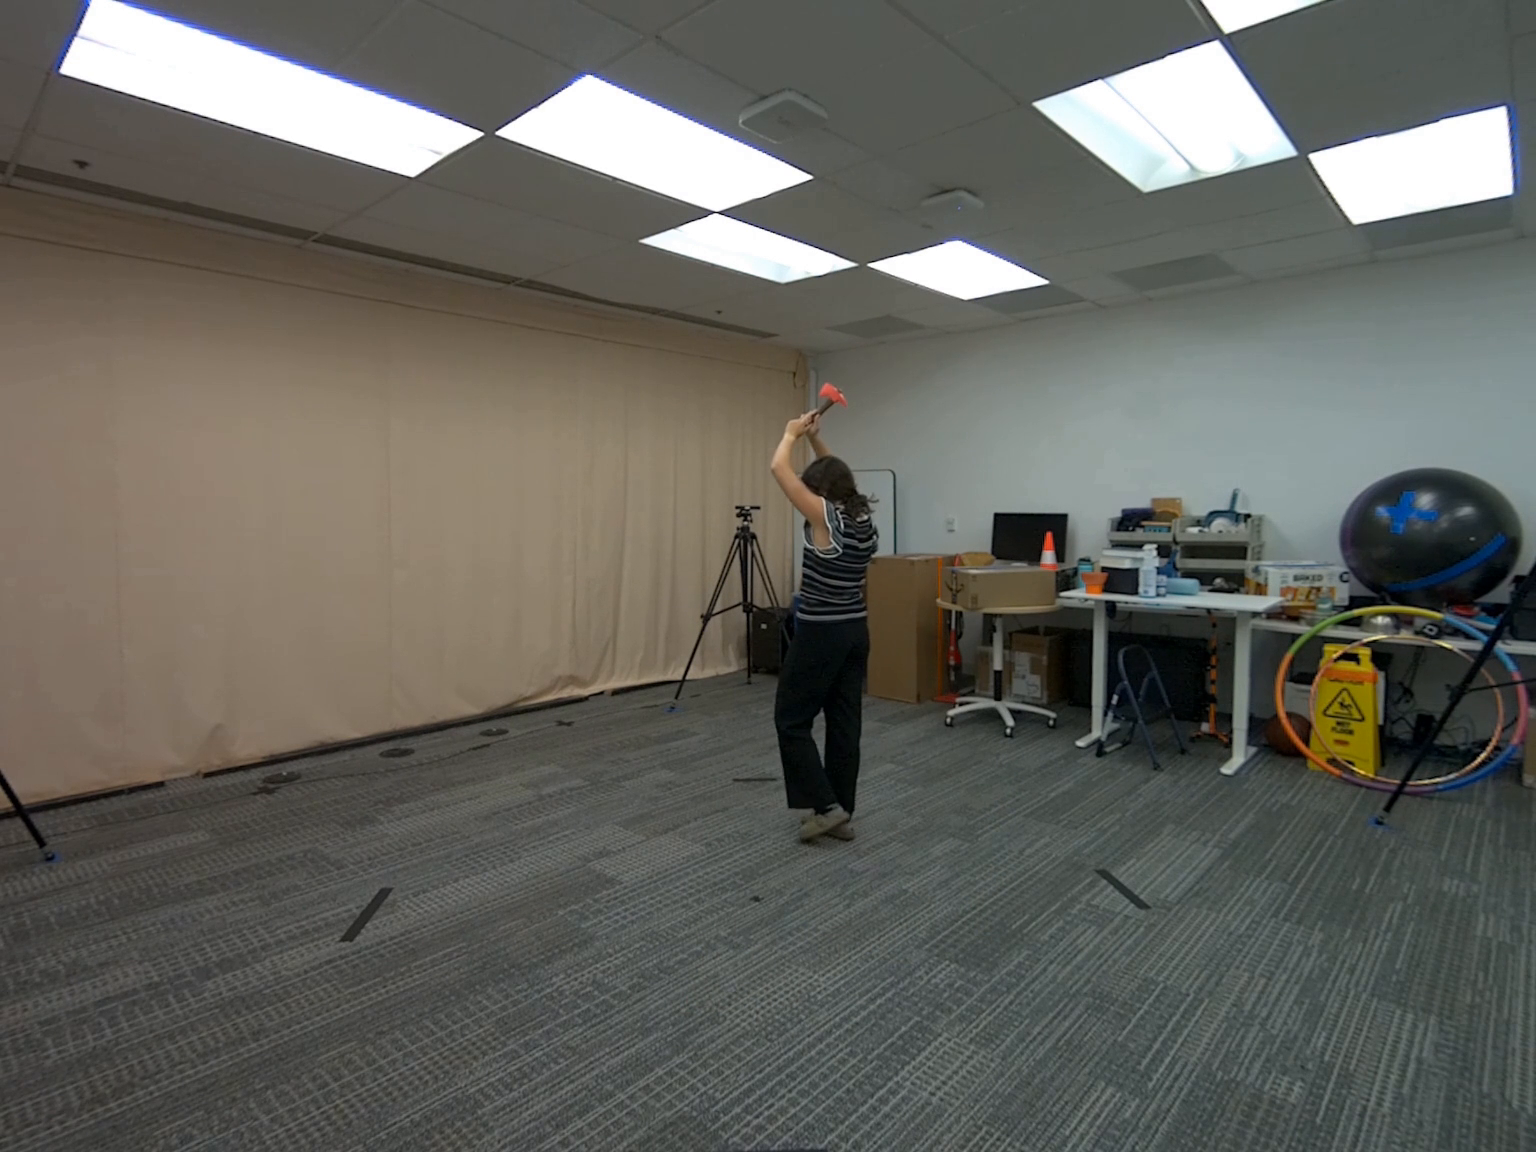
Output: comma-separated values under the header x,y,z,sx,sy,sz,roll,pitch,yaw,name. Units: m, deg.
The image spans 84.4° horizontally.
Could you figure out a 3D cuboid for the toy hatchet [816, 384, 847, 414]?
x,y,z,sx,sy,sz,roll,pitch,yaw,name
0.196,-0.722,3.567,0.274,0.131,0.029,-21,-2,19,toy hatchet
